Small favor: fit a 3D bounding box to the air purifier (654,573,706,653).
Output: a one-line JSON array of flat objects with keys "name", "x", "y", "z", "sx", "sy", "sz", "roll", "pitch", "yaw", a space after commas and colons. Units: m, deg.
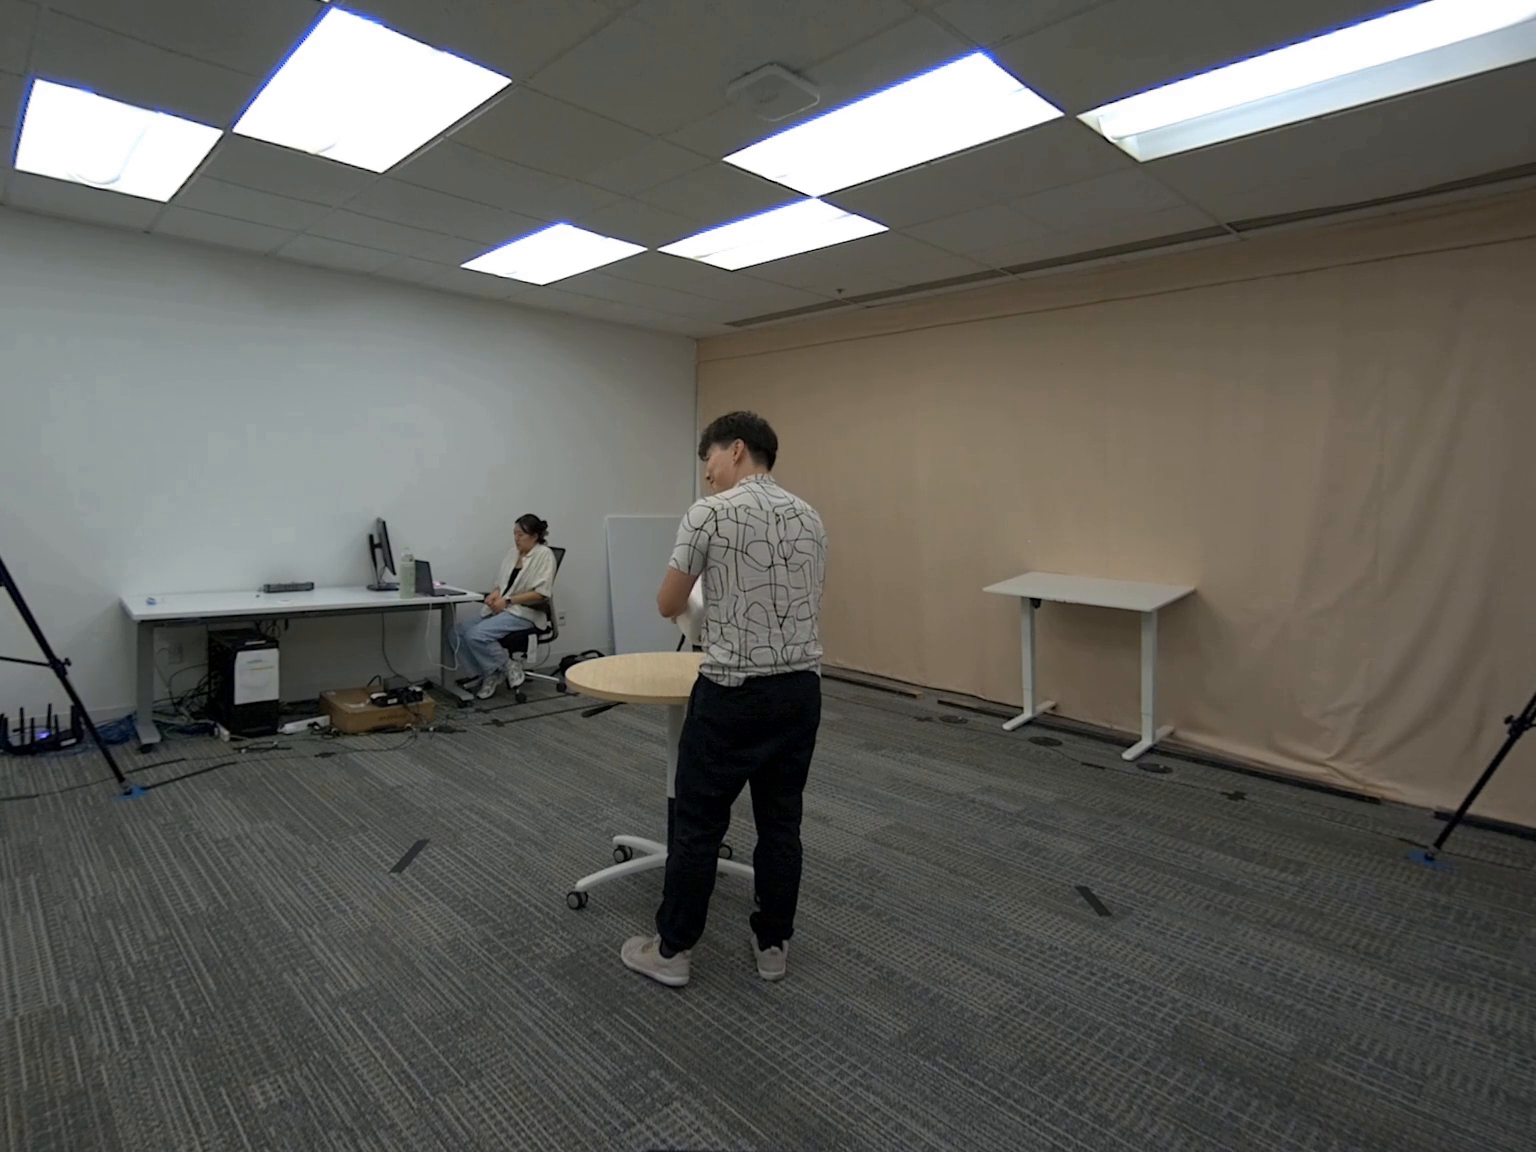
[{"name": "air purifier", "x": -0.224, "y": 0.098, "z": 2.733, "sx": 0.167, "sy": 0.170, "sz": 0.274, "roll": 8, "pitch": 28, "yaw": -32}]
